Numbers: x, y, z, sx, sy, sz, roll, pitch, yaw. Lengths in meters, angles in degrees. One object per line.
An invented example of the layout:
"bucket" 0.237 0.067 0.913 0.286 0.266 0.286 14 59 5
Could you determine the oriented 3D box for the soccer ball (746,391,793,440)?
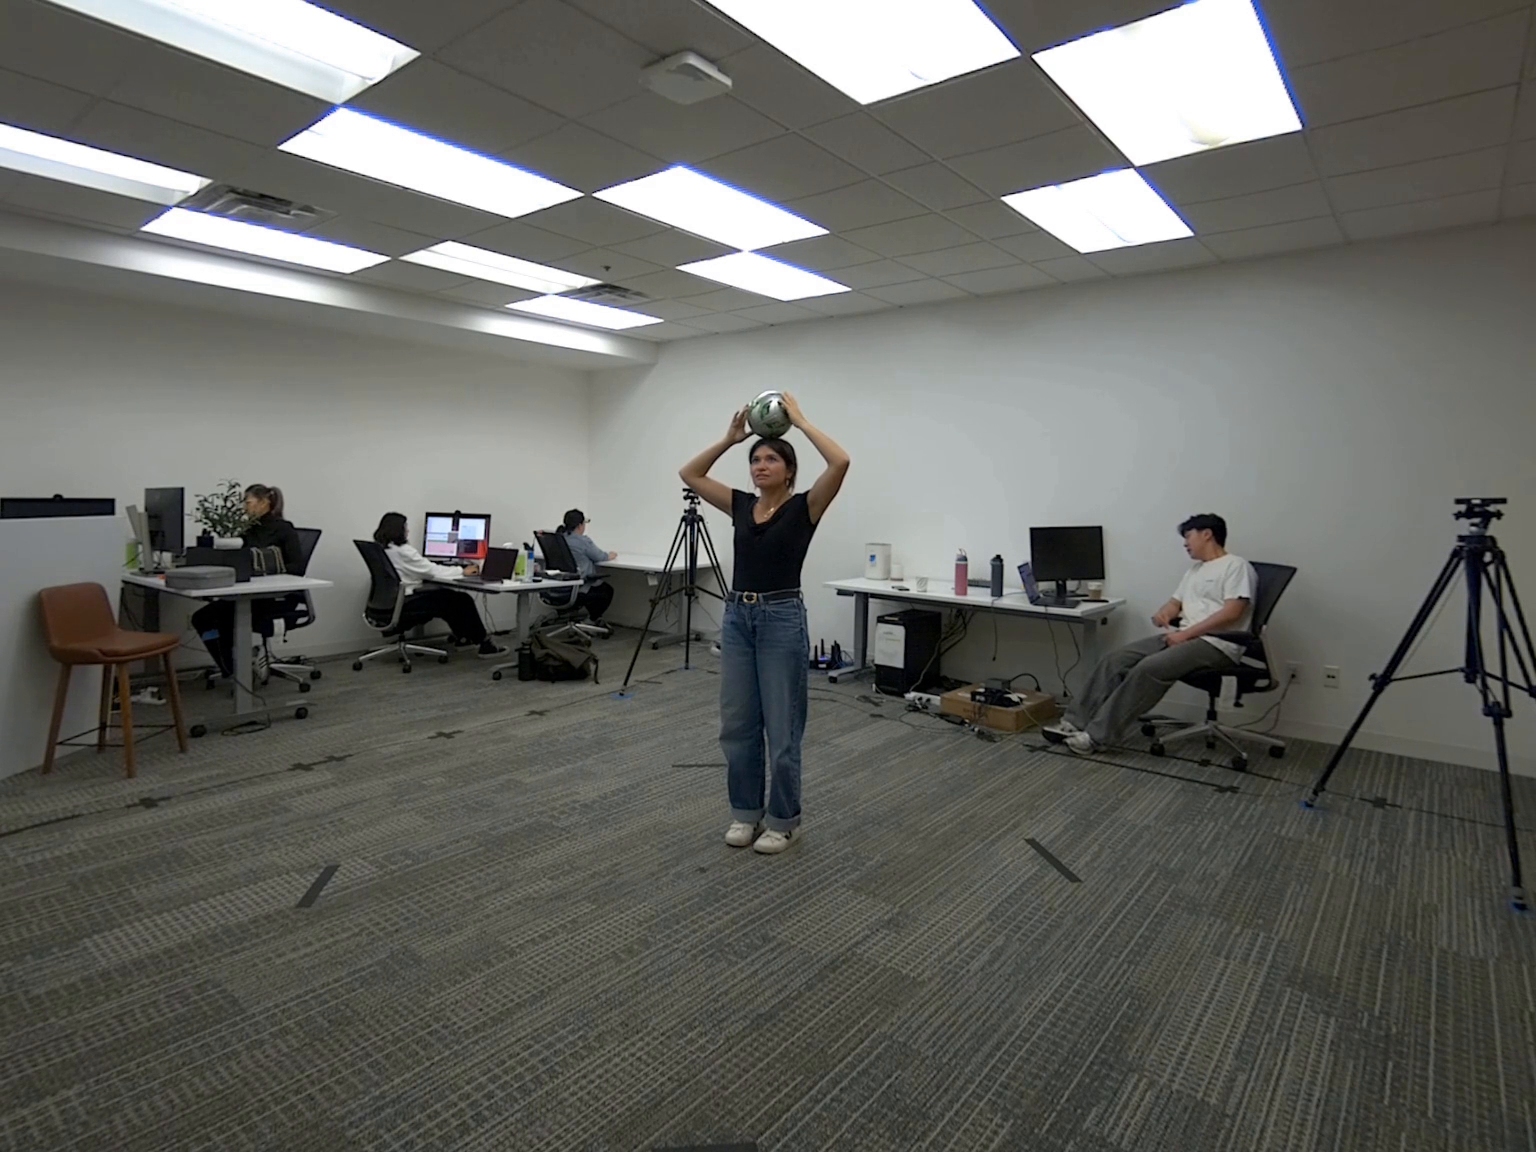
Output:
"soccer ball" 0.005 -0.634 3.320 0.187 0.187 0.188 1 4 -2
